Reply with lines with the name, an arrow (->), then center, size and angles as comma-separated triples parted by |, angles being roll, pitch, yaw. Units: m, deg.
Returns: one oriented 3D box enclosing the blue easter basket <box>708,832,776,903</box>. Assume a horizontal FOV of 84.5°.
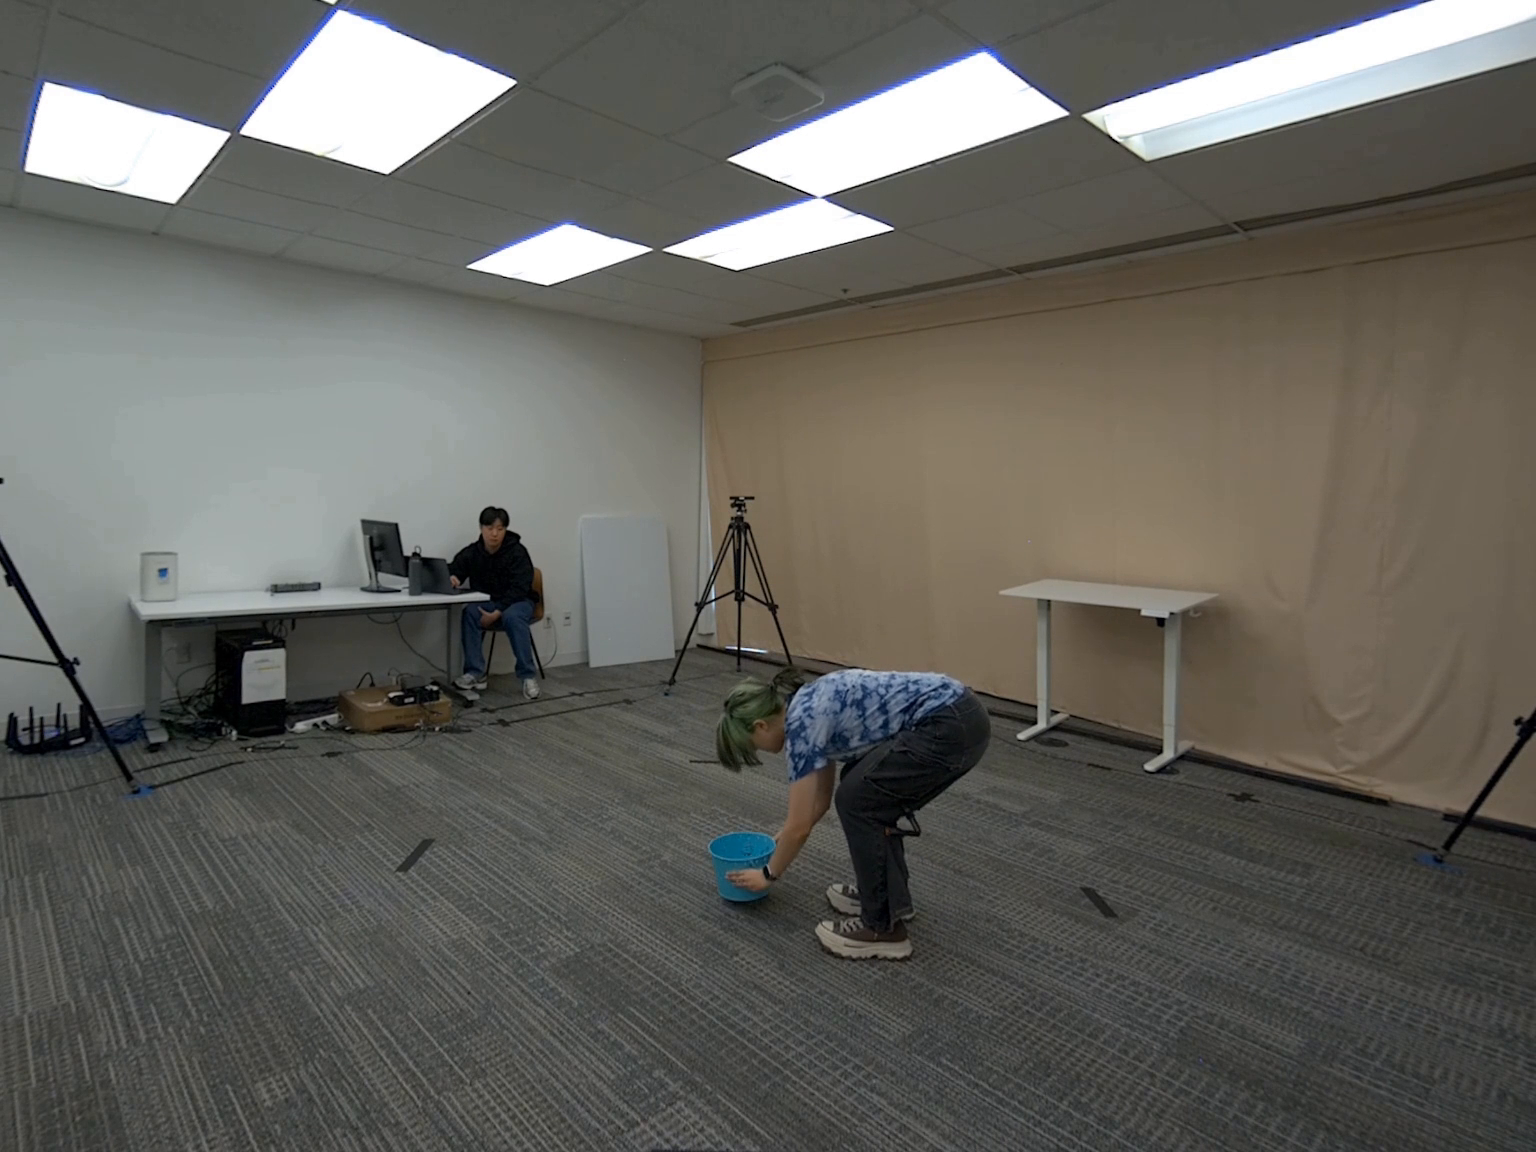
blue easter basket -> -0.084, 0.999, 2.907 | 0.243, 0.155, 0.245 | -3, 7, -1
